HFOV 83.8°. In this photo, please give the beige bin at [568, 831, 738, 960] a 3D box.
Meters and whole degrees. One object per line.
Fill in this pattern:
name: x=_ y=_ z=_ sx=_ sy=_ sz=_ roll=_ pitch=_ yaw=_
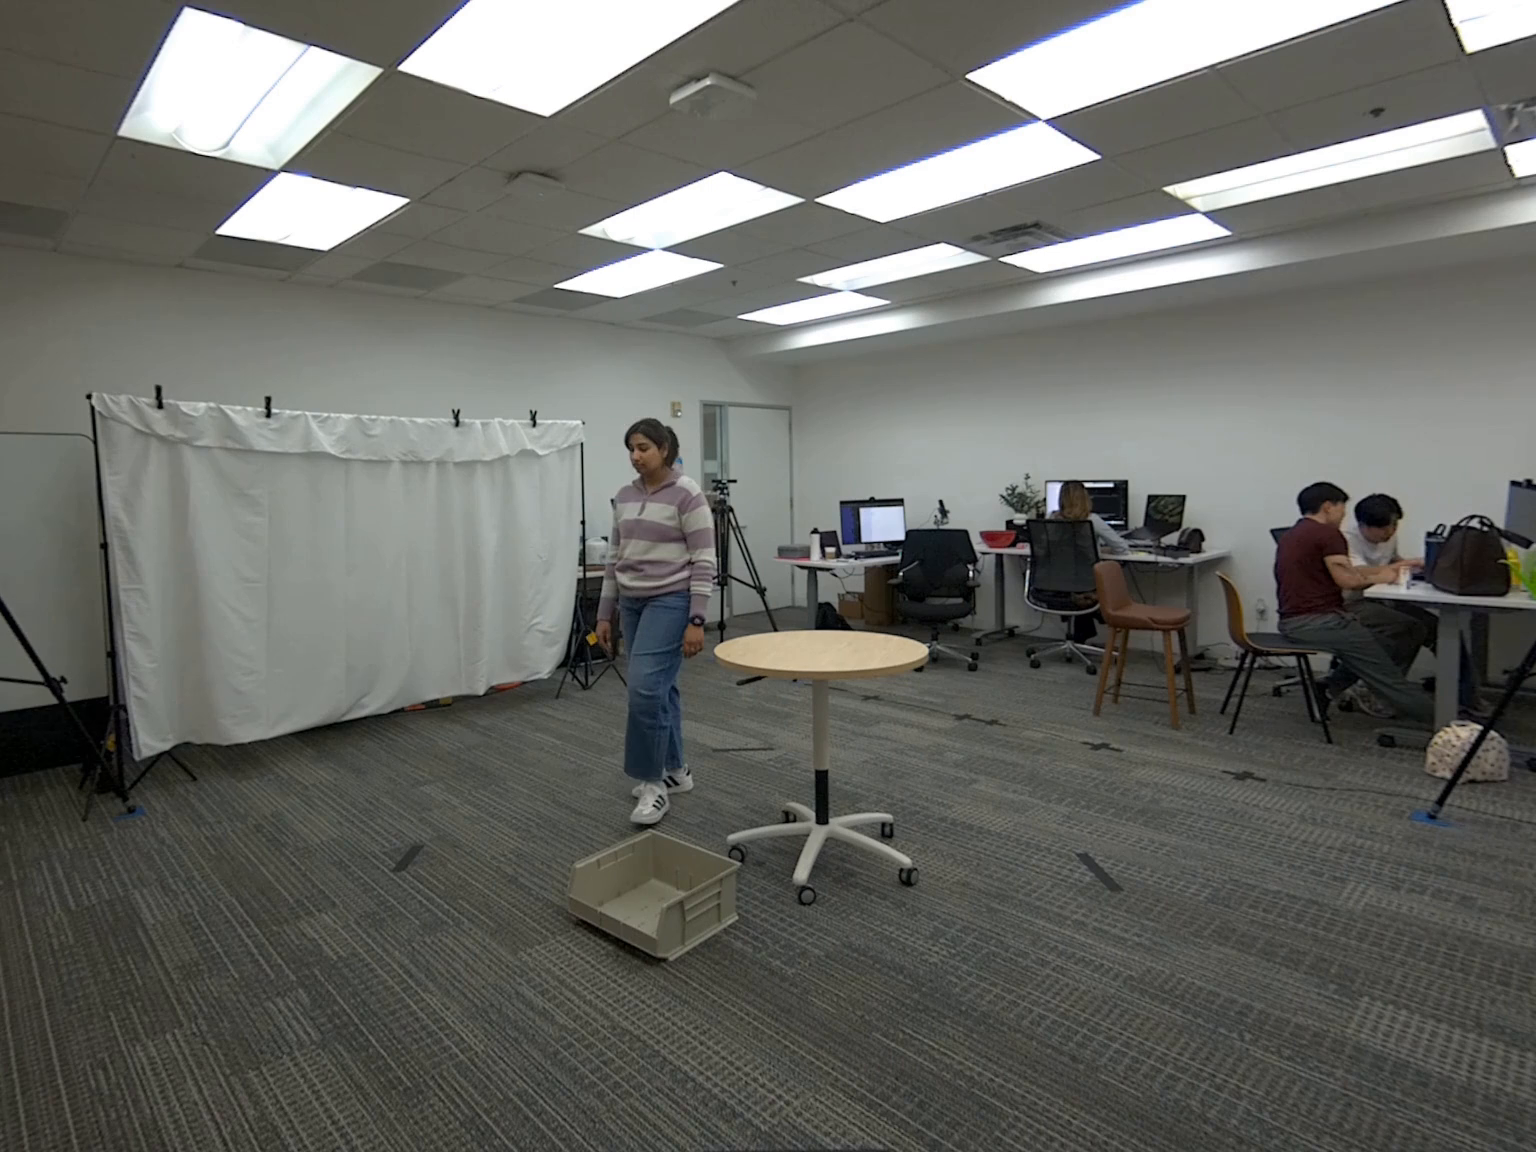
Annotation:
beige bin: x=-0.362 y=1.012 z=2.715 sx=0.435 sy=0.188 sz=0.367 roll=4 pitch=7 yaw=39
